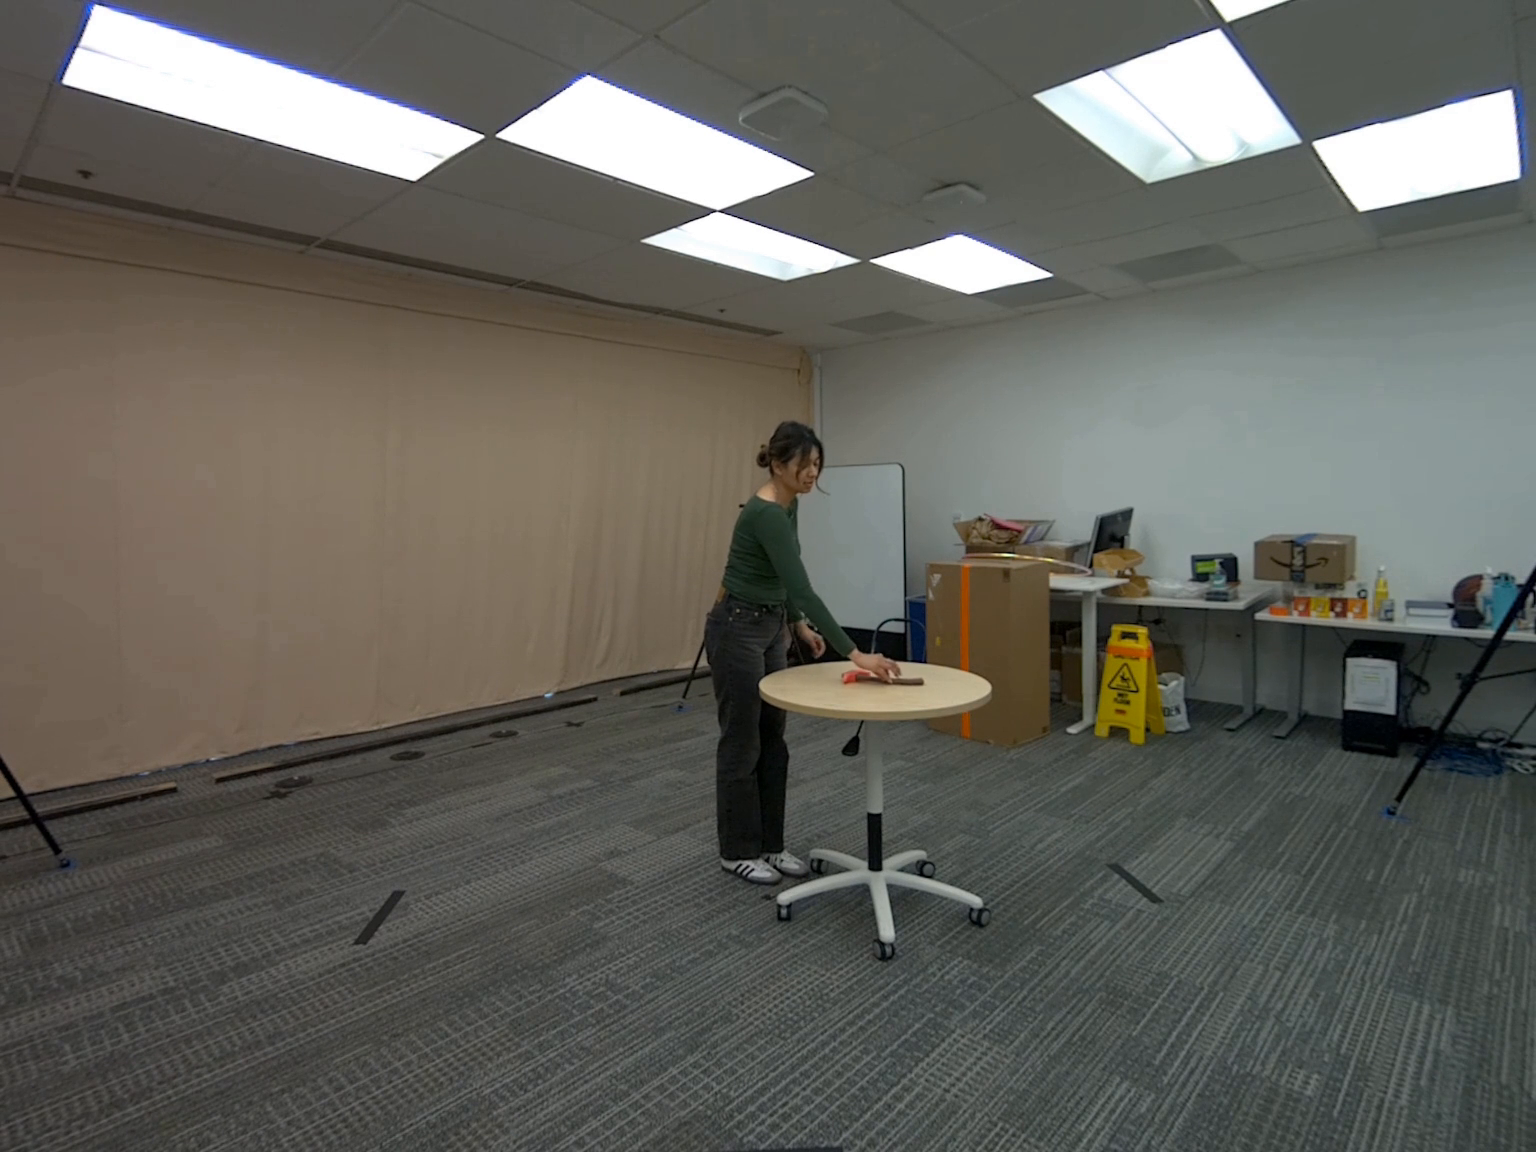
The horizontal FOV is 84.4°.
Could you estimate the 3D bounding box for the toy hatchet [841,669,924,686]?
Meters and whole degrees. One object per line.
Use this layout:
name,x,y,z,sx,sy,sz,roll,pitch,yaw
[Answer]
toy hatchet,0.405,0.346,2.862,0.273,0.029,0.130,-1,8,9
